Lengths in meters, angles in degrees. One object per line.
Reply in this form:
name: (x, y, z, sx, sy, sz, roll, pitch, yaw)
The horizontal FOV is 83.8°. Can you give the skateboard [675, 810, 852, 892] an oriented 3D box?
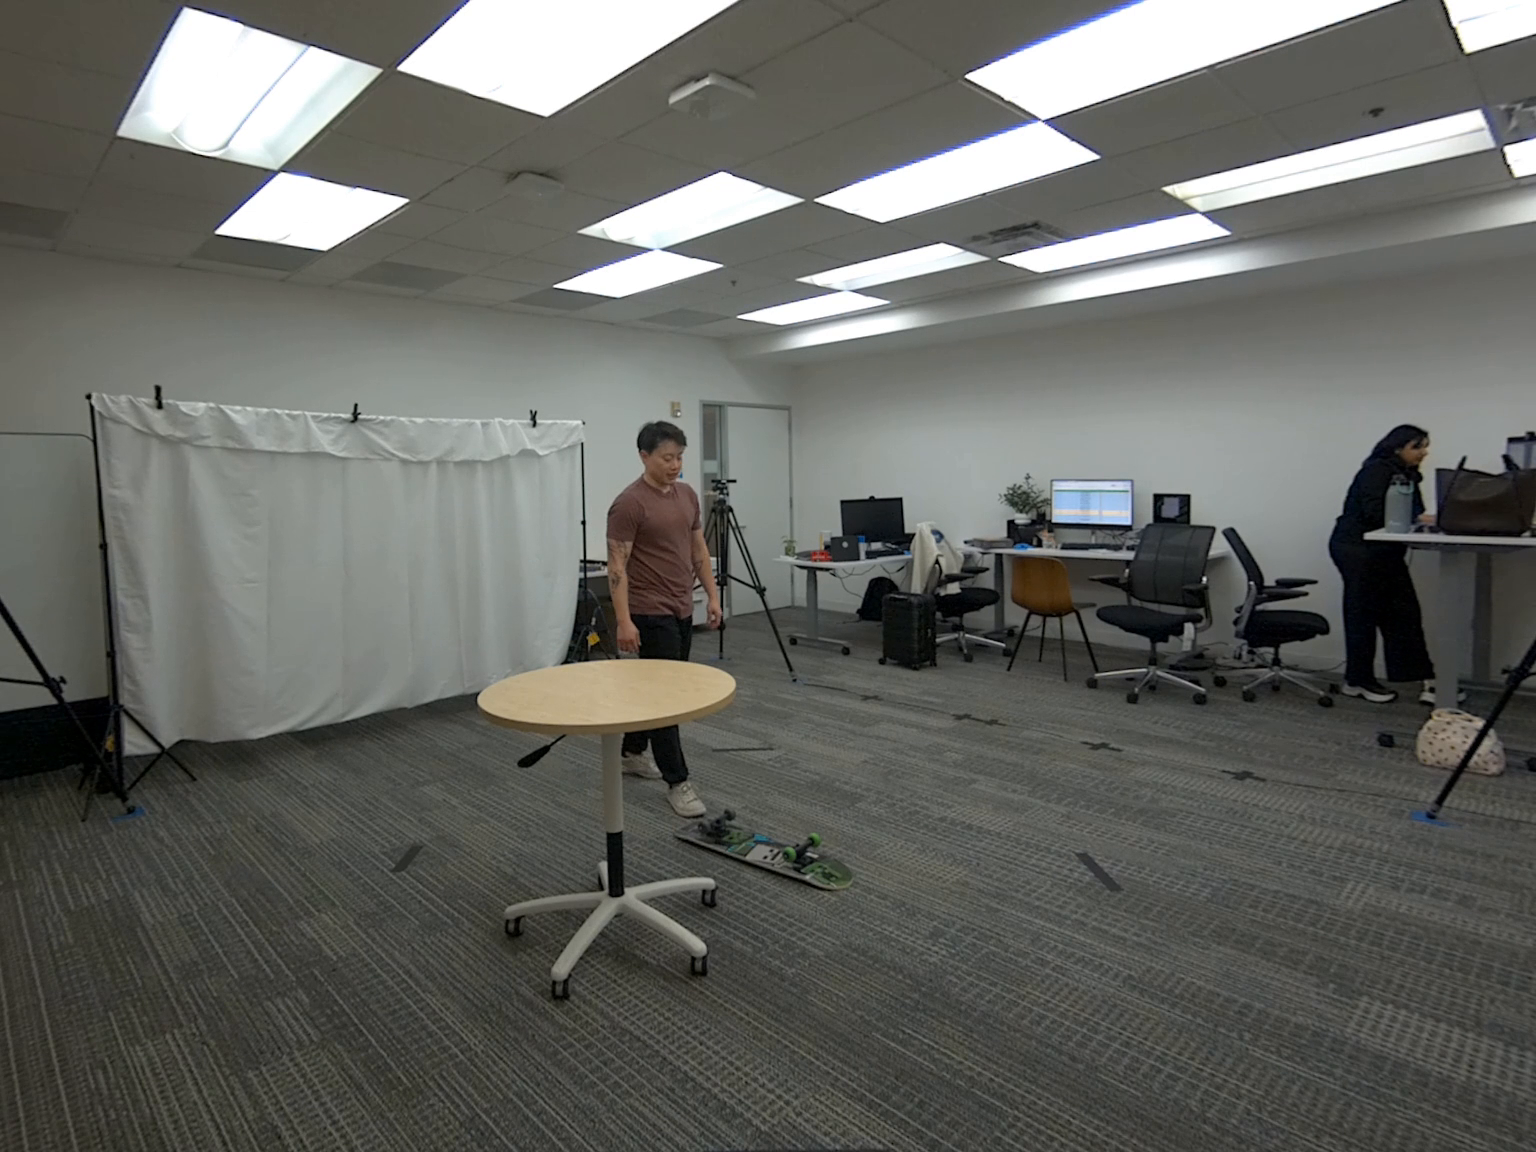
skateboard: (-0.036, 0.986, 3.177, 0.809, 0.110, 0.189, 4, 8, 39)
